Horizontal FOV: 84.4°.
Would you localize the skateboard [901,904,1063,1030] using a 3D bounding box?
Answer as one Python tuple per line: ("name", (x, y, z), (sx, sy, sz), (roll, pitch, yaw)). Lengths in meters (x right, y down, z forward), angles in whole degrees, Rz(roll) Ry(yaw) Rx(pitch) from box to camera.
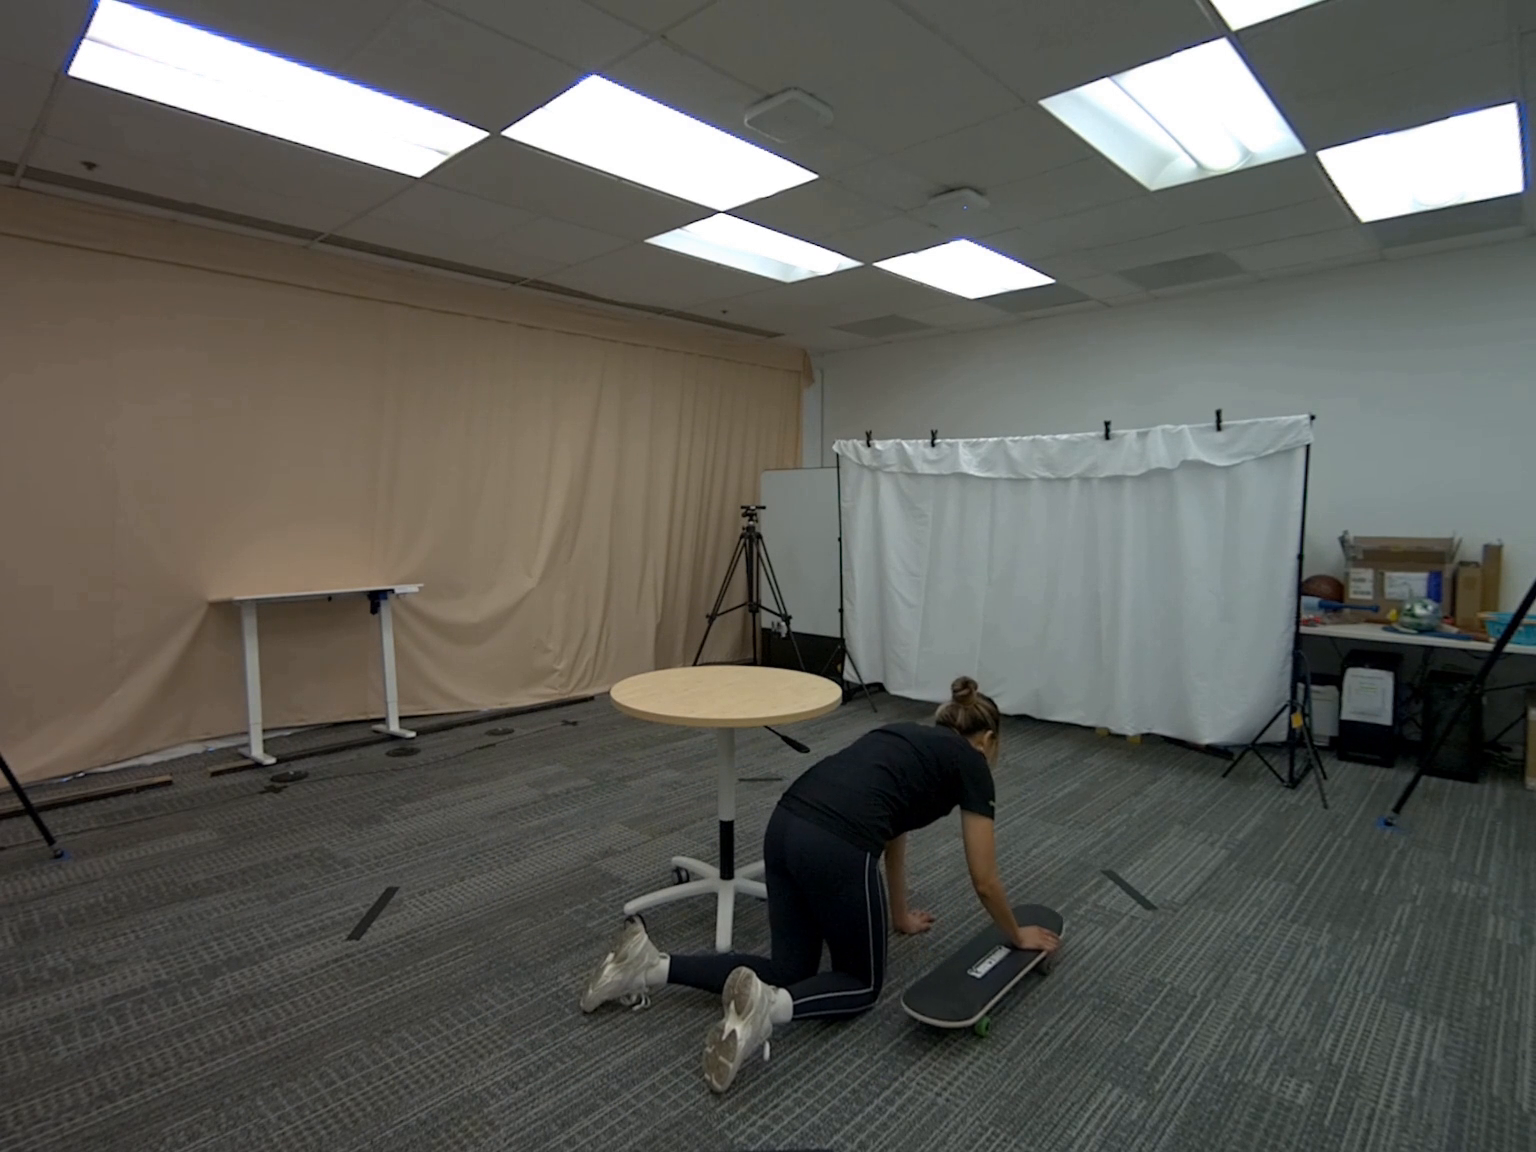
("skateboard", (0.638, 1.138, 2.407), (0.200, 0.110, 0.761), (5, 7, 43))
